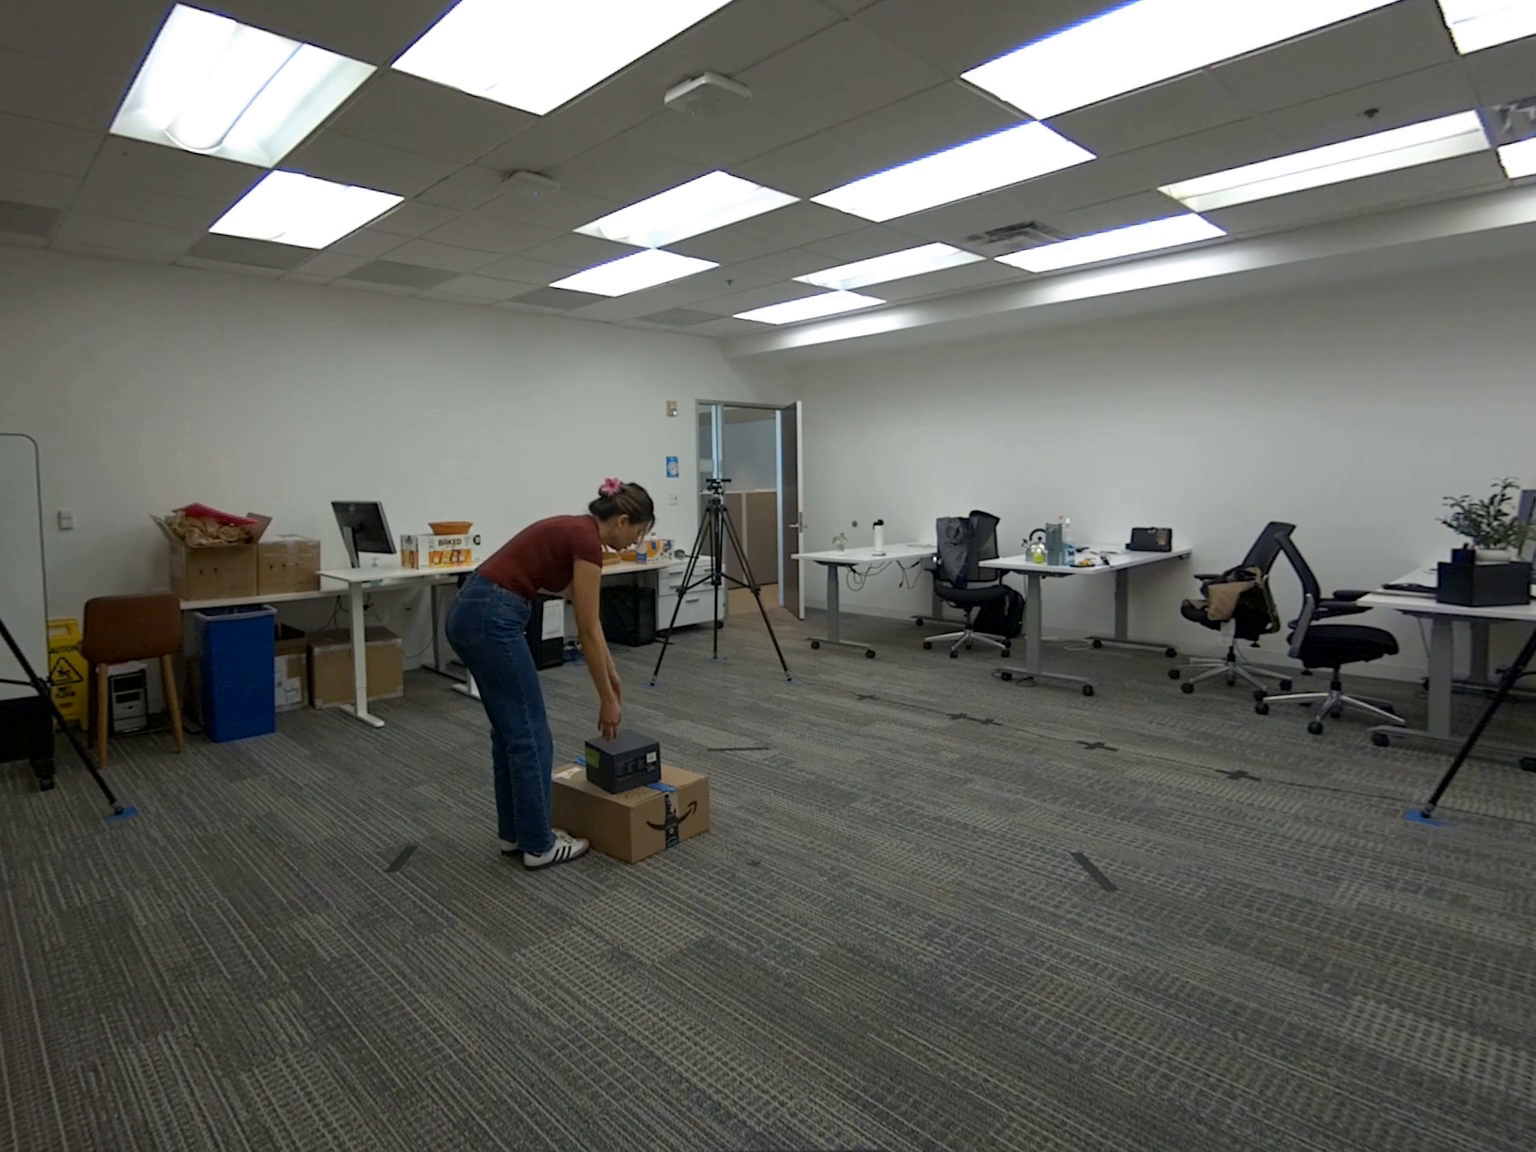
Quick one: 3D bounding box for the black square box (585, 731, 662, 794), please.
[{"bbox_3d":[-0.574,0.724,3.366,0.212,0.155,0.235,-8,9,-38],"label":"black square box"}]
